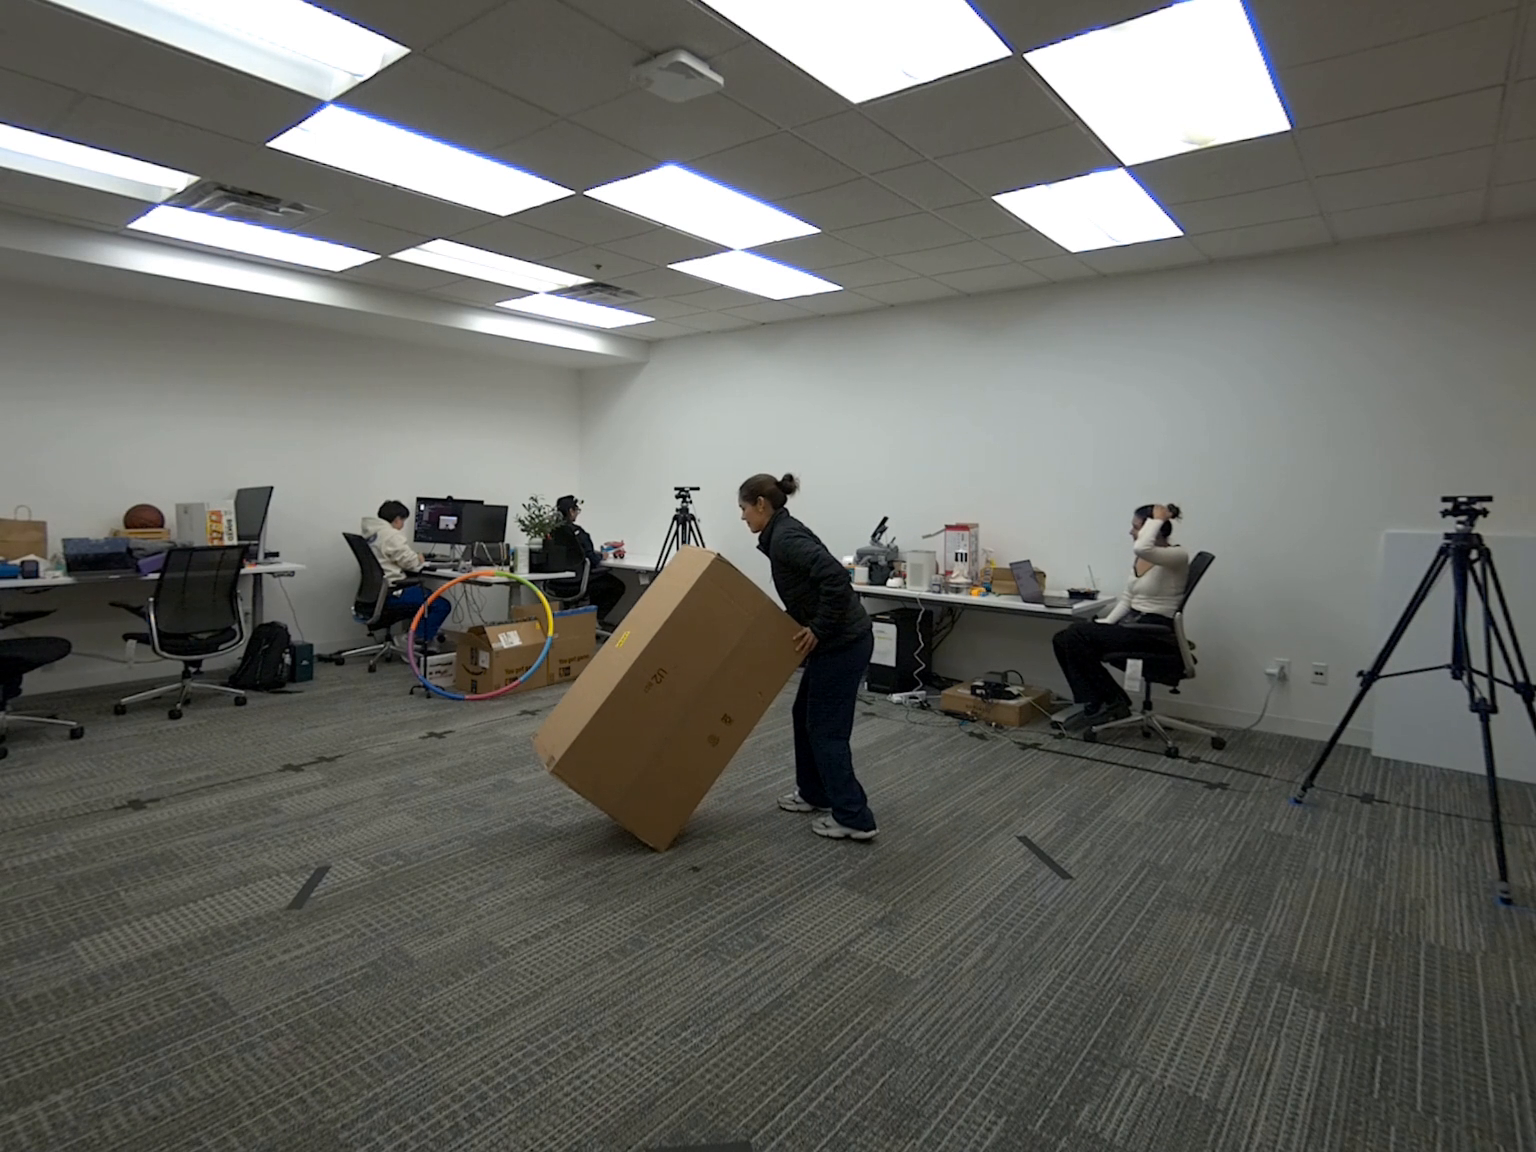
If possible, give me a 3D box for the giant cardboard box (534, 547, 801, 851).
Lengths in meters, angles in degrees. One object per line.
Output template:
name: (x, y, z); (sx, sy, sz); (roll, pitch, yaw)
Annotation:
giant cardboard box: (-0.369, 0.457, 3.446); (0.569, 1.028, 0.458); (40, -11, -19)
